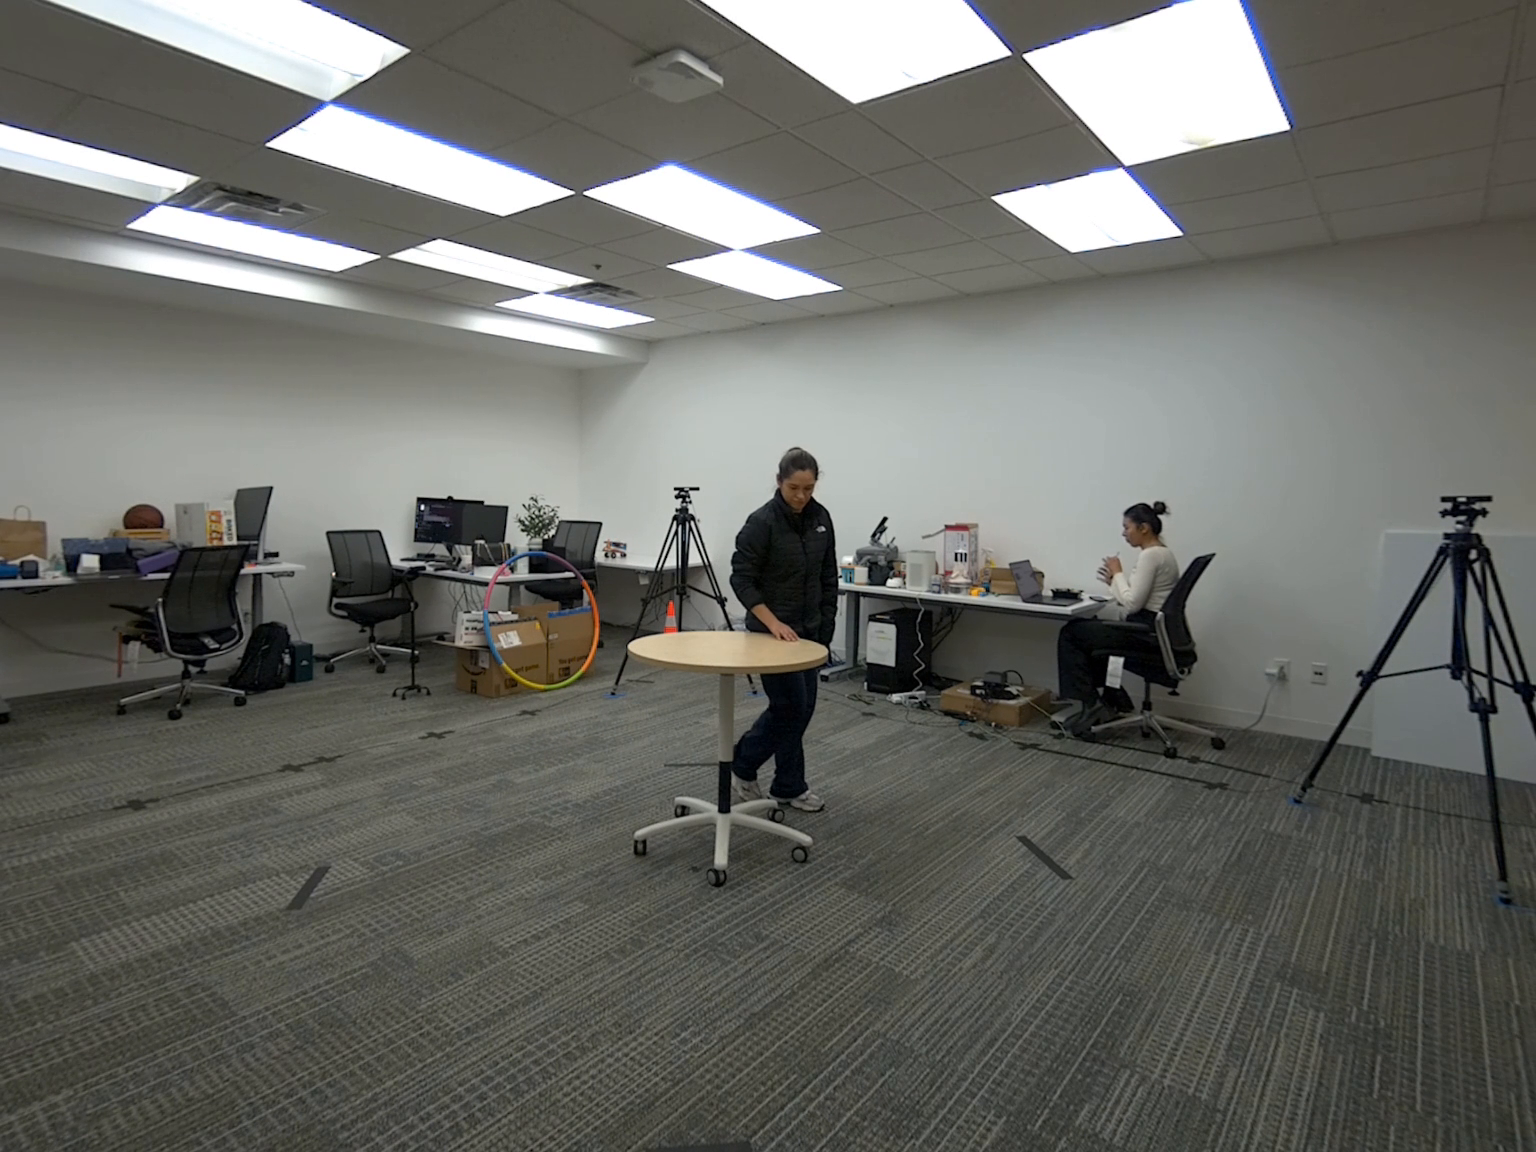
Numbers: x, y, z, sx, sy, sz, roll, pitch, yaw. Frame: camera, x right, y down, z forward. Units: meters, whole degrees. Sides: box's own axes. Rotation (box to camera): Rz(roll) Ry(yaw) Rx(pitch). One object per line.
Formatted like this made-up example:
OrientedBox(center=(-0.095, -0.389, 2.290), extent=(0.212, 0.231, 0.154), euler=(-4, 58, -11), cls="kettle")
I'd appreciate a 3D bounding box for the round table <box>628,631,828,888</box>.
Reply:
OrientedBox(center=(-0.138, 0.656, 3.282), extent=(0.784, 0.784, 0.789), euler=(1, 4, -2), cls="round table")
